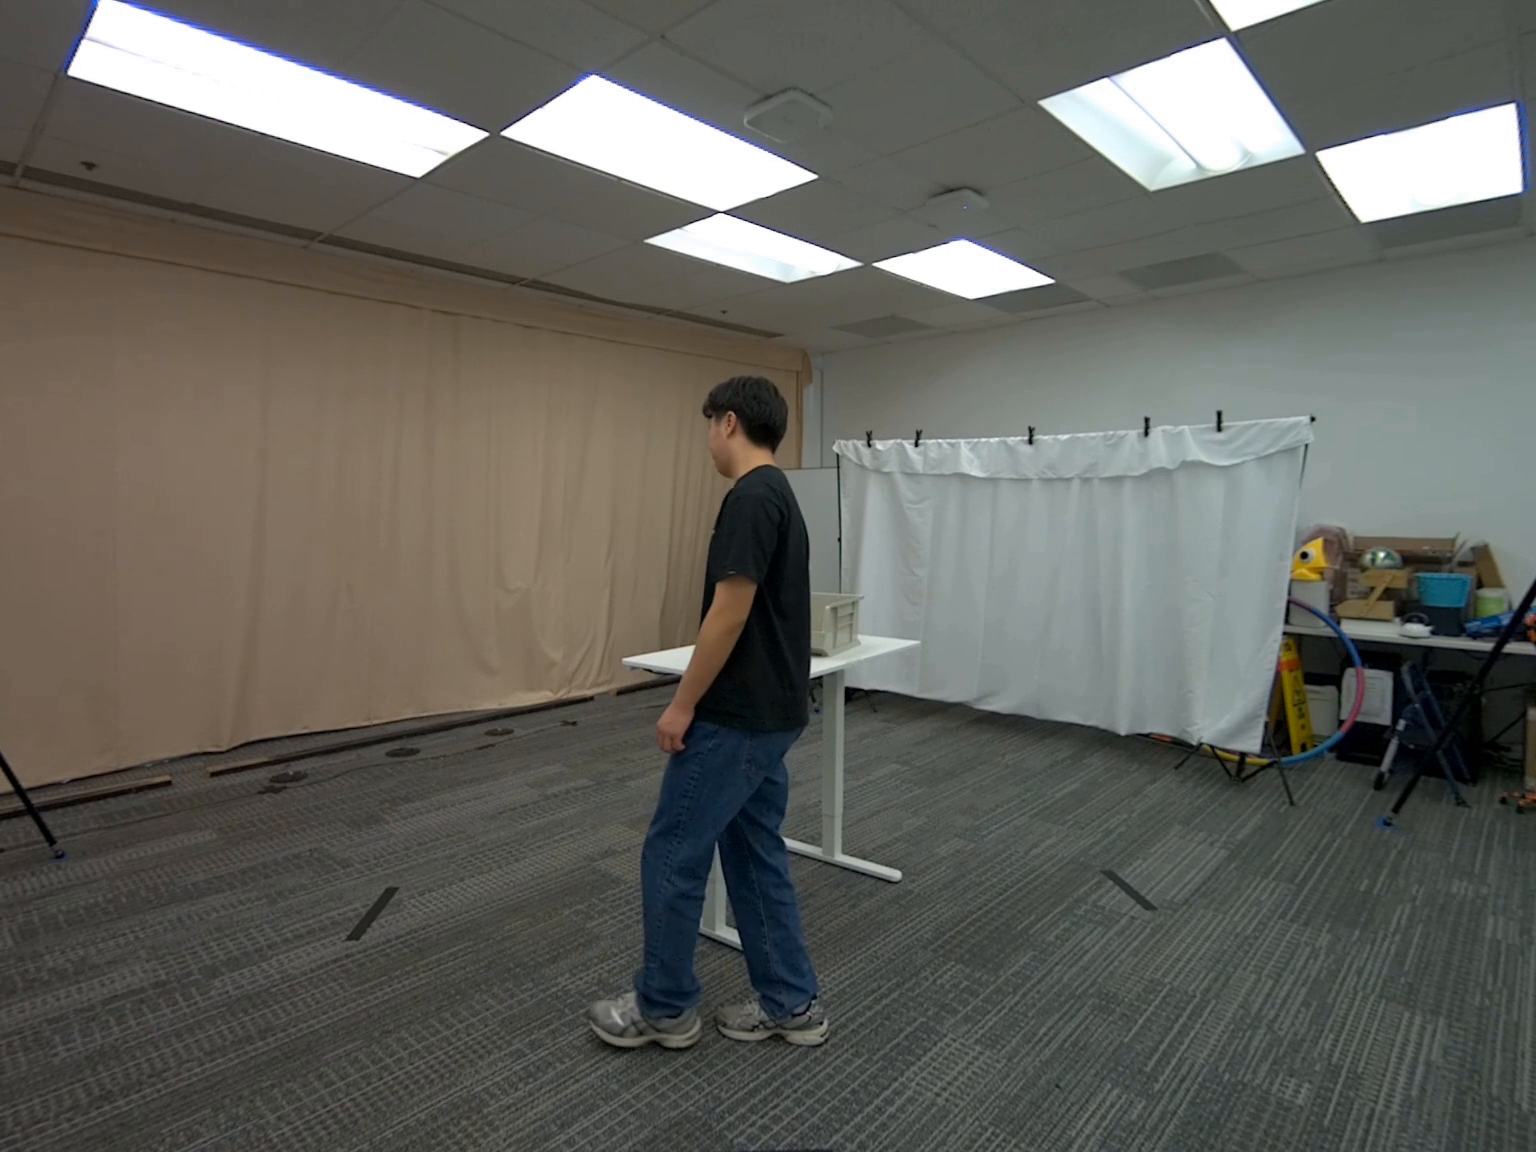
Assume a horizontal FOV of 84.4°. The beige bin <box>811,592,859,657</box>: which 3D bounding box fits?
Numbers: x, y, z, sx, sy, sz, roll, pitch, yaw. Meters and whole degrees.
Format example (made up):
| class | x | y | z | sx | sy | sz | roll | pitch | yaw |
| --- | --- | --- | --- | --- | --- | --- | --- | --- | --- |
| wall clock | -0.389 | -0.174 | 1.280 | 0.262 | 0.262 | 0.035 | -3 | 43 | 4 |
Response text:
| class | x | y | z | sx | sy | sz | roll | pitch | yaw |
| --- | --- | --- | --- | --- | --- | --- | --- | --- | --- |
| beige bin | 0.087 | 0.170 | 3.047 | 0.434 | 0.189 | 0.368 | 2 | 3 | 28 |
